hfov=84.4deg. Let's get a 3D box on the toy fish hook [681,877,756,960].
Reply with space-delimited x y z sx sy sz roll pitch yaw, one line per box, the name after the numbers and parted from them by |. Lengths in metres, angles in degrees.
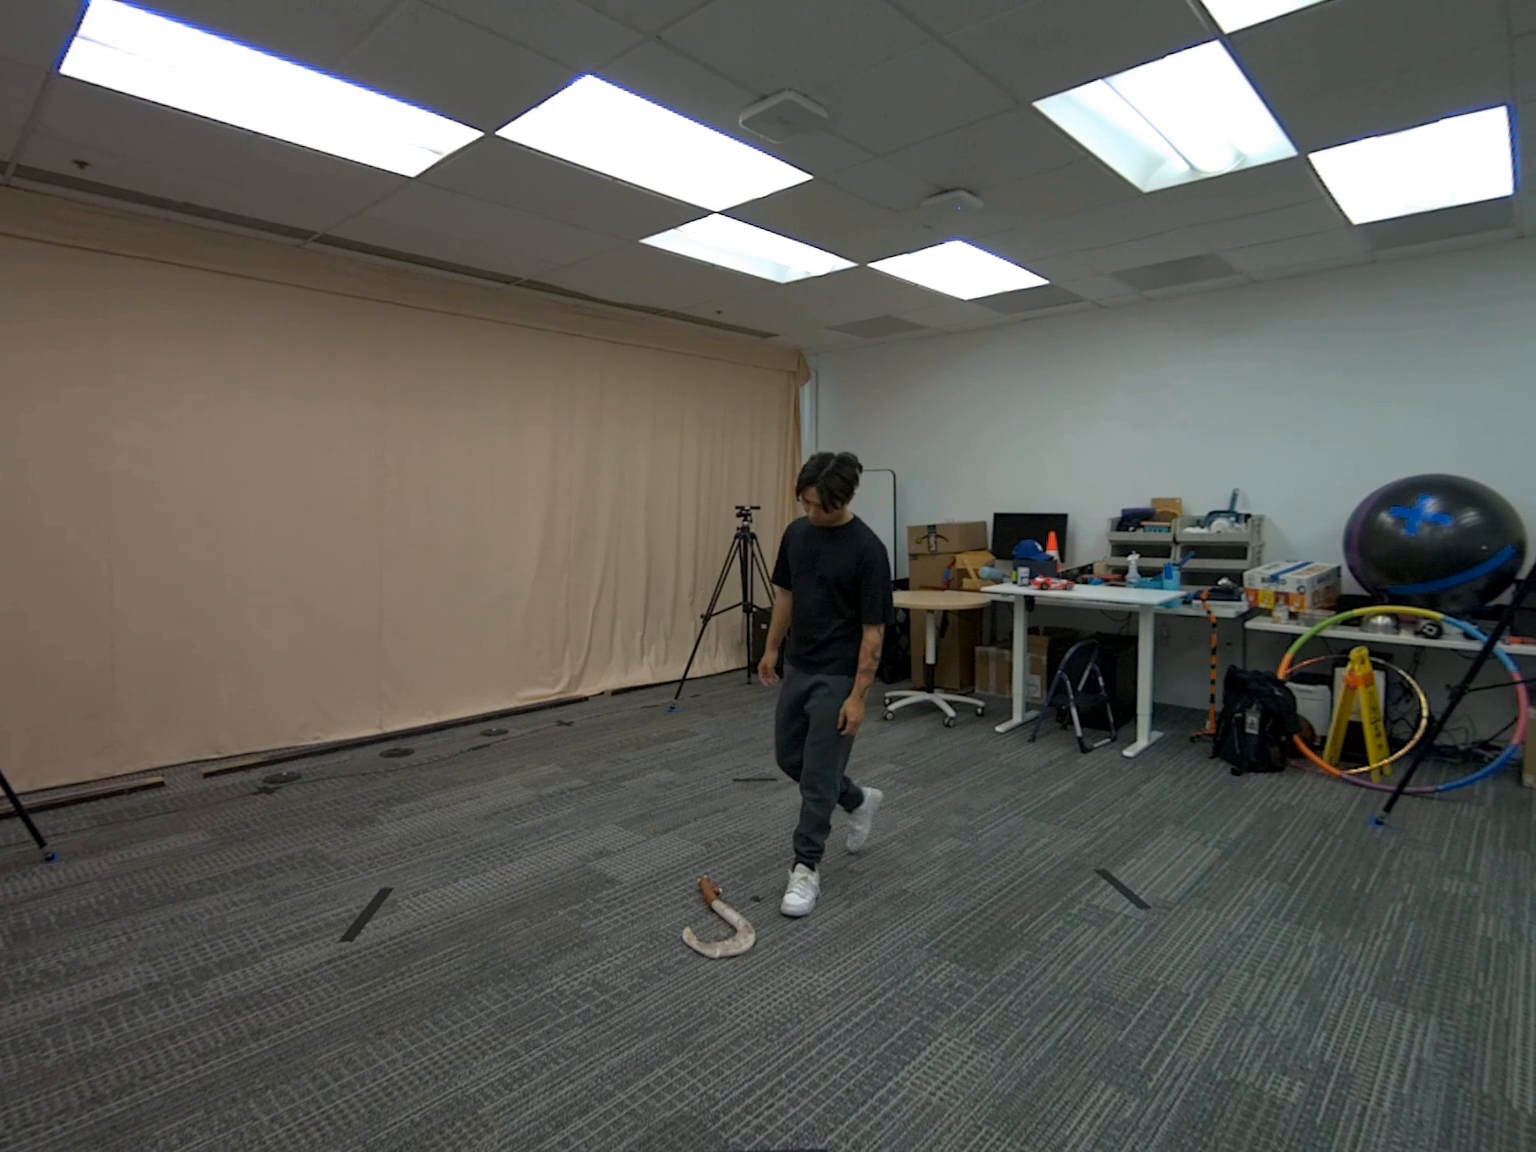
-0.200 1.134 2.827 0.220 0.048 0.517 -1 4 -19 | toy fish hook
